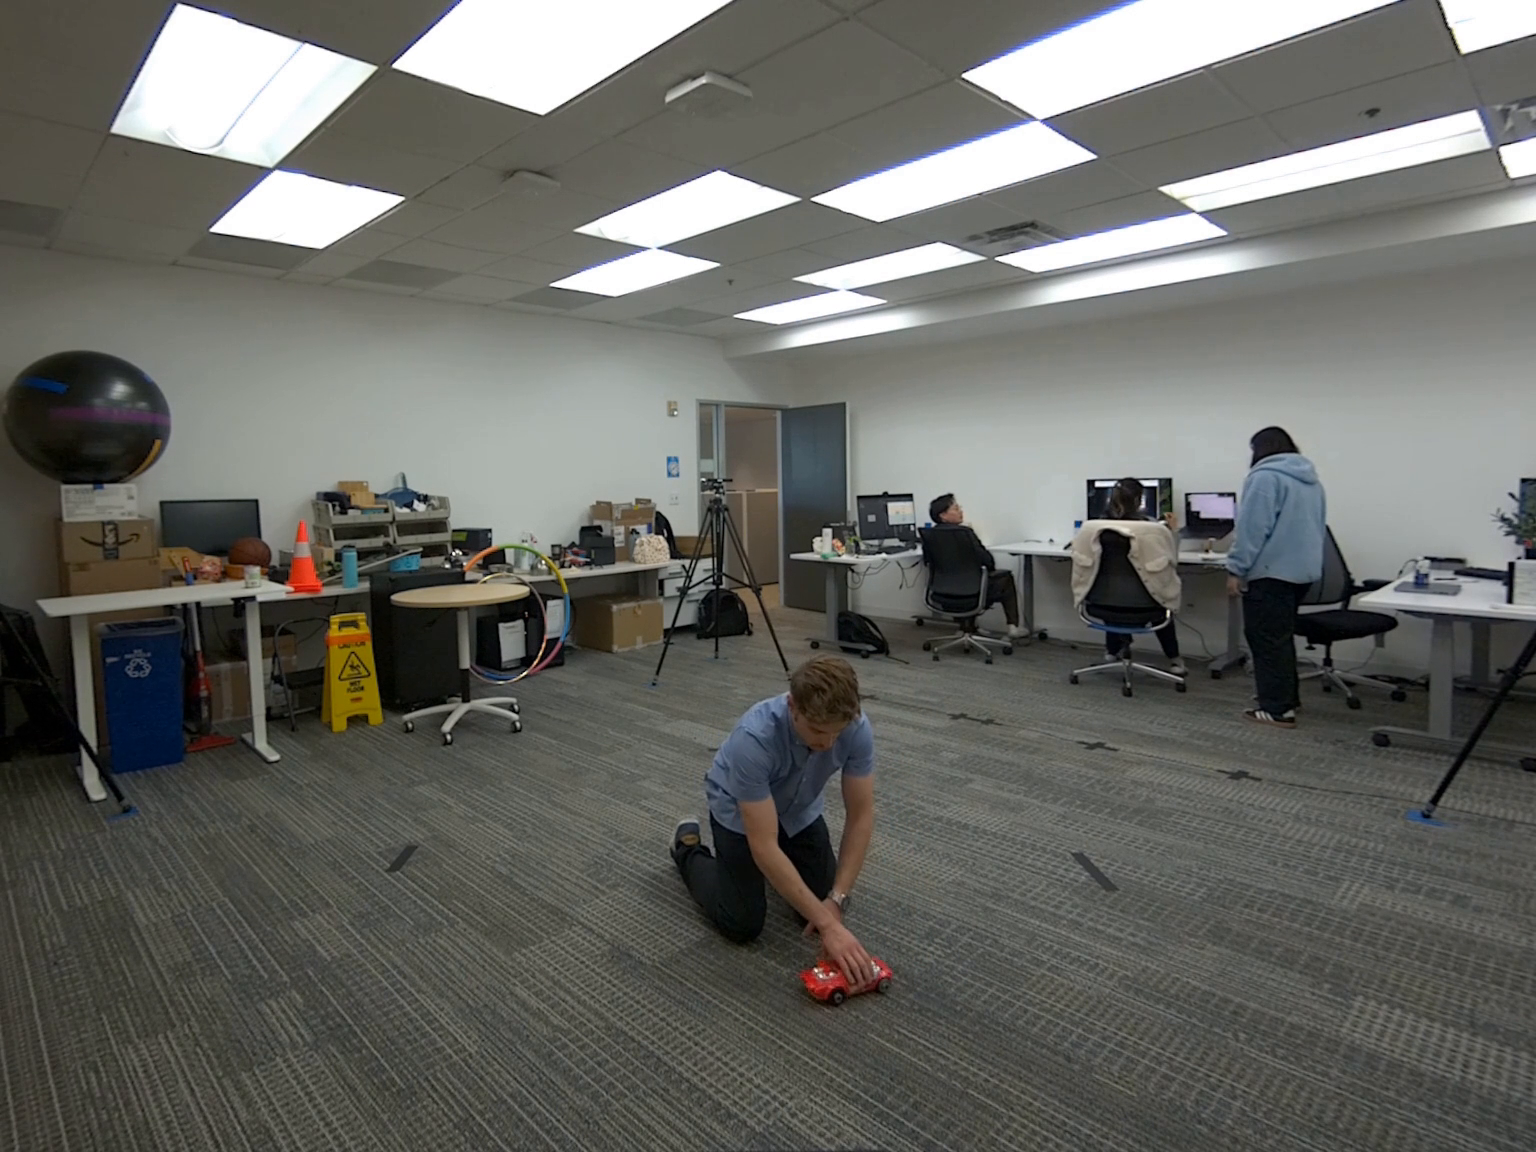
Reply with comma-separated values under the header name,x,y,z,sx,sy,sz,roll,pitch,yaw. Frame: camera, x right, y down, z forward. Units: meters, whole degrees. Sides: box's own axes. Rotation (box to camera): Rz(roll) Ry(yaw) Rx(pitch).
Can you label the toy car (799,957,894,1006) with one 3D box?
name,x,y,z,sx,sy,sz,roll,pitch,yaw
toy car,0.204,1.103,2.324,0.249,0.083,0.133,8,3,-19
